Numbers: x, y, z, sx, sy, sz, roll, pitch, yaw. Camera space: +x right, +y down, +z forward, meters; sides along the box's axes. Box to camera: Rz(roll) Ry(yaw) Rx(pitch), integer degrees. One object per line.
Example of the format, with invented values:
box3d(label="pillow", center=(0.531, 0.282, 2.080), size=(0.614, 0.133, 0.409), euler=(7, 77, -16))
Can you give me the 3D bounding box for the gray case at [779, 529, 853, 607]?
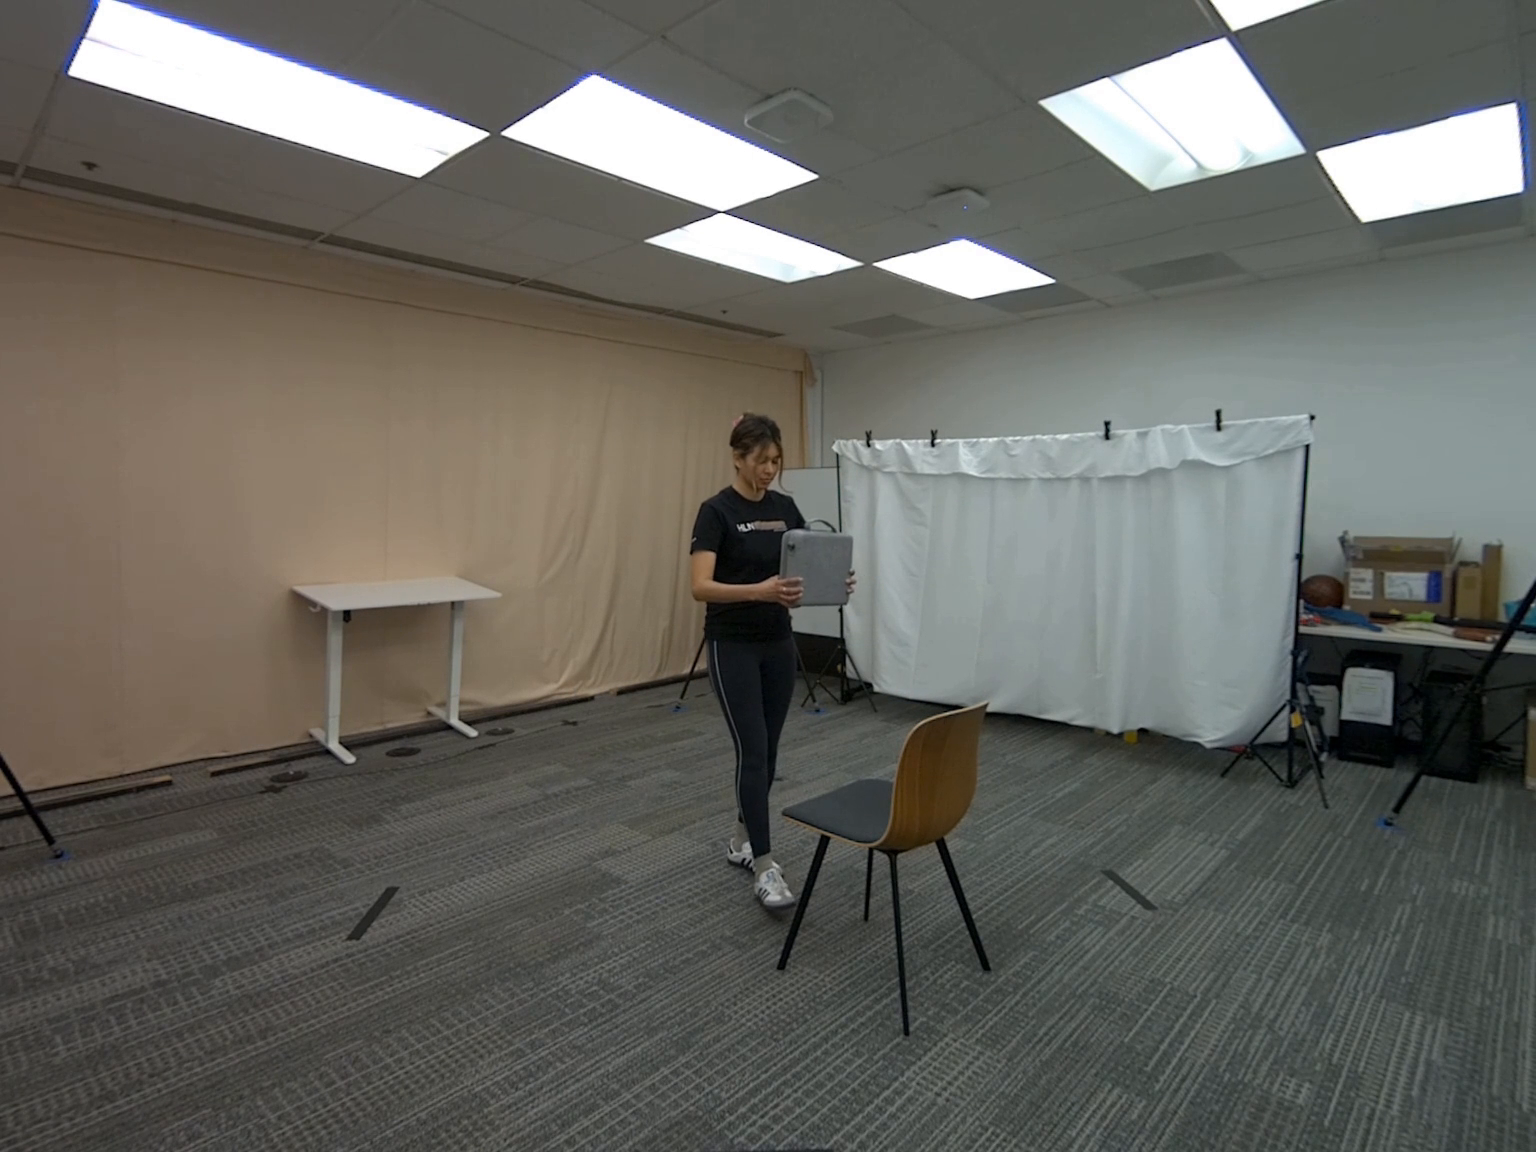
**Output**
box3d(label="gray case", center=(0.164, -0.030, 2.841), size=(0.249, 0.260, 0.108), euler=(0, 7, -34))
